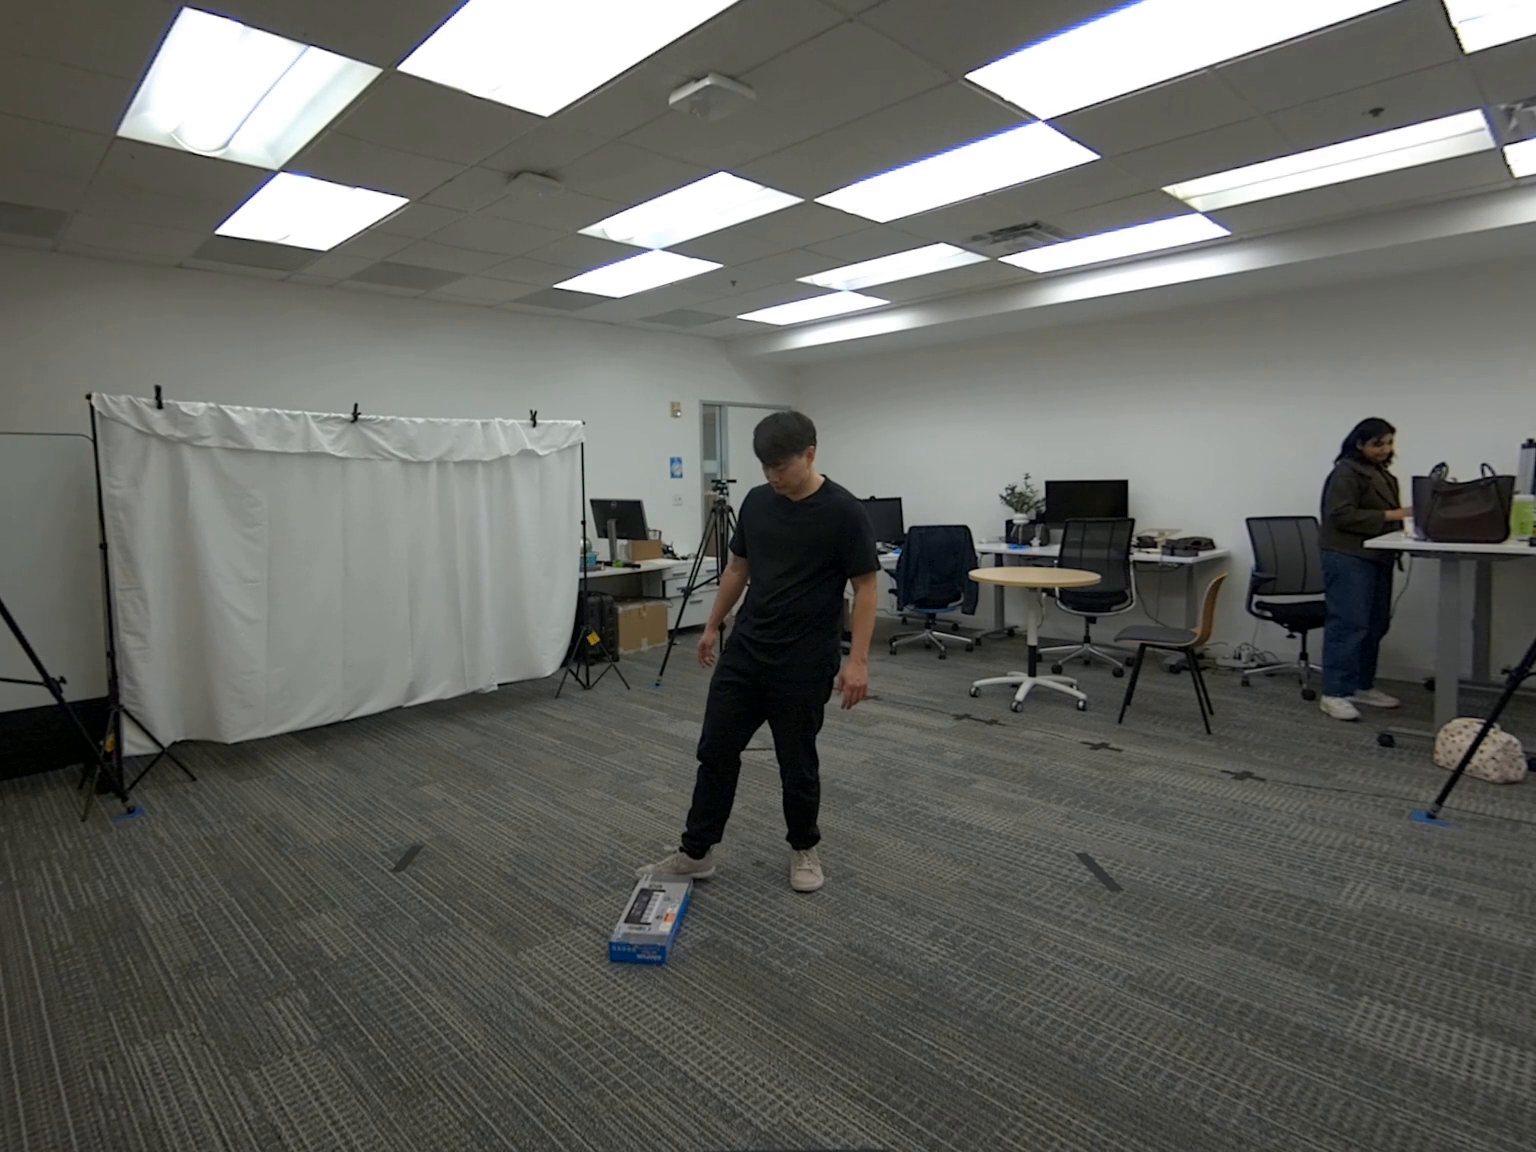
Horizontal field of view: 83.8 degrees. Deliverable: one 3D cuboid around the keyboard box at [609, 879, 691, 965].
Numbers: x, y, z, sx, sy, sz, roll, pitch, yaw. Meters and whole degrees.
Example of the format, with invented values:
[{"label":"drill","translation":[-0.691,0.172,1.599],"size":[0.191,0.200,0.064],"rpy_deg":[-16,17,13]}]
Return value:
[{"label":"keyboard box","translation":[-0.354,1.070,2.697],"size":[0.177,0.059,0.436],"rpy_deg":[0,7,6]}]
